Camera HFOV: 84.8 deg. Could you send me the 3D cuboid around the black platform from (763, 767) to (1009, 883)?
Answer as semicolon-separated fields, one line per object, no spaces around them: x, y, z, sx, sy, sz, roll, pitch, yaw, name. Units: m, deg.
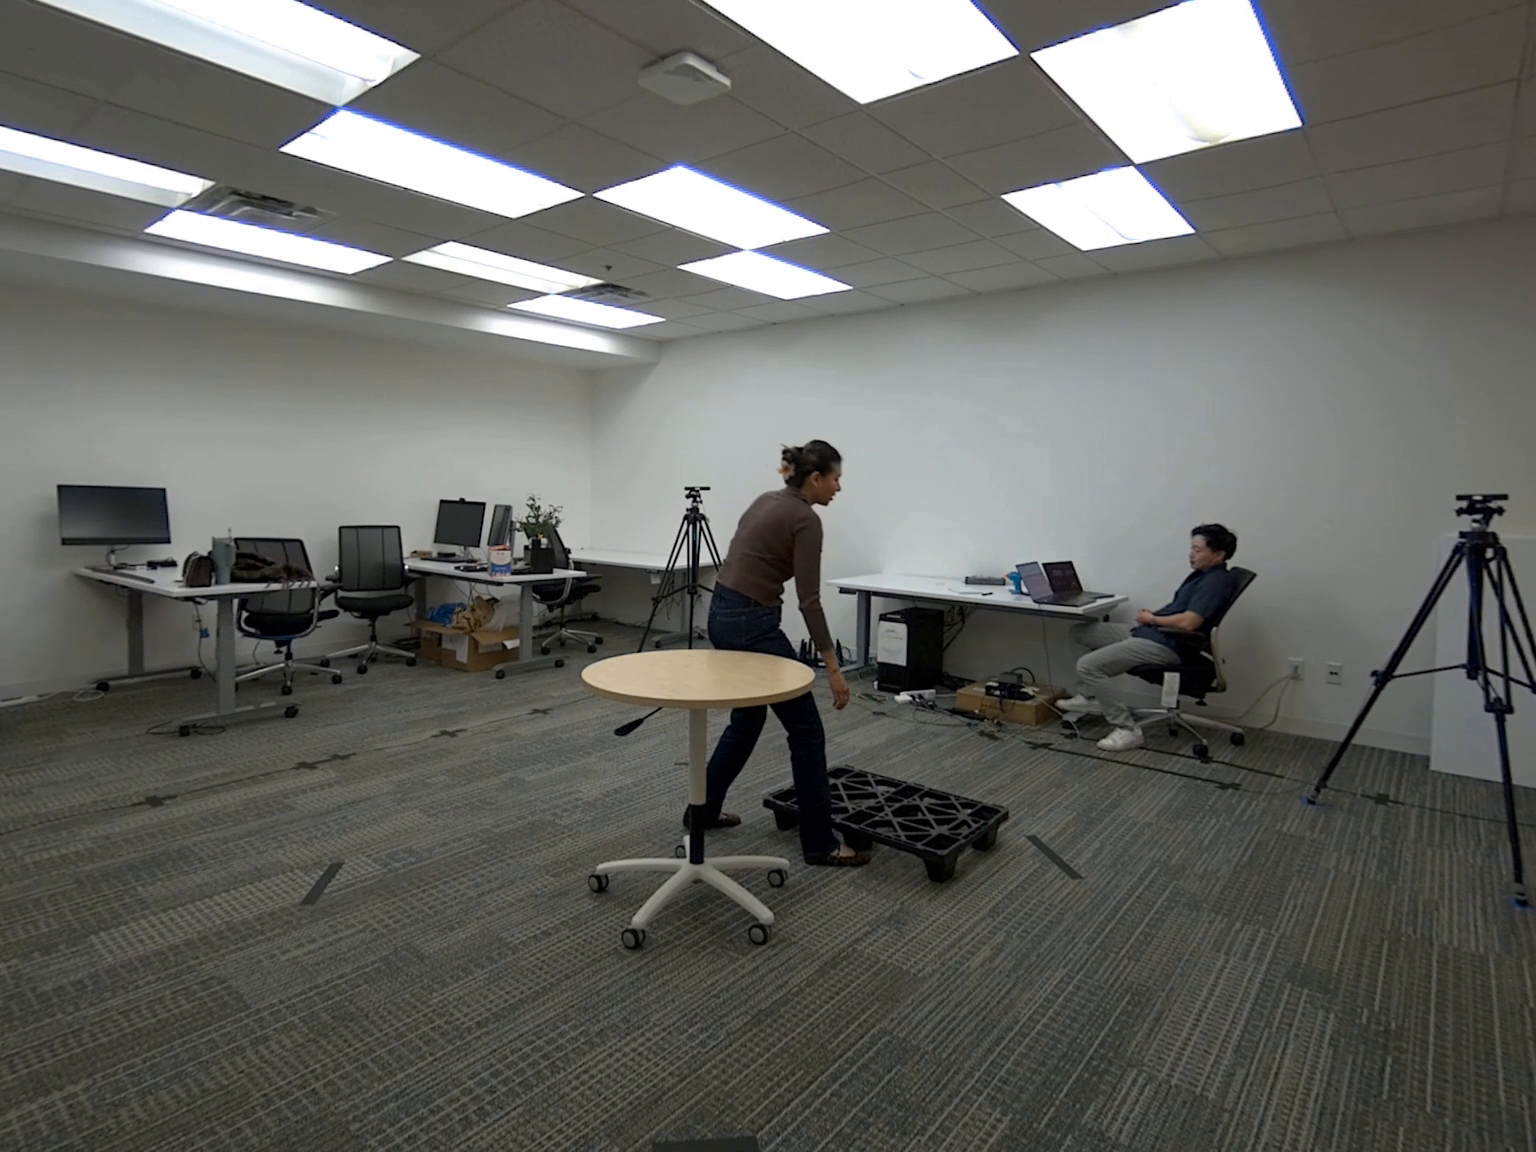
0.466;0.980;3.430;0.833;0.143;0.588;5;8;39;black platform
